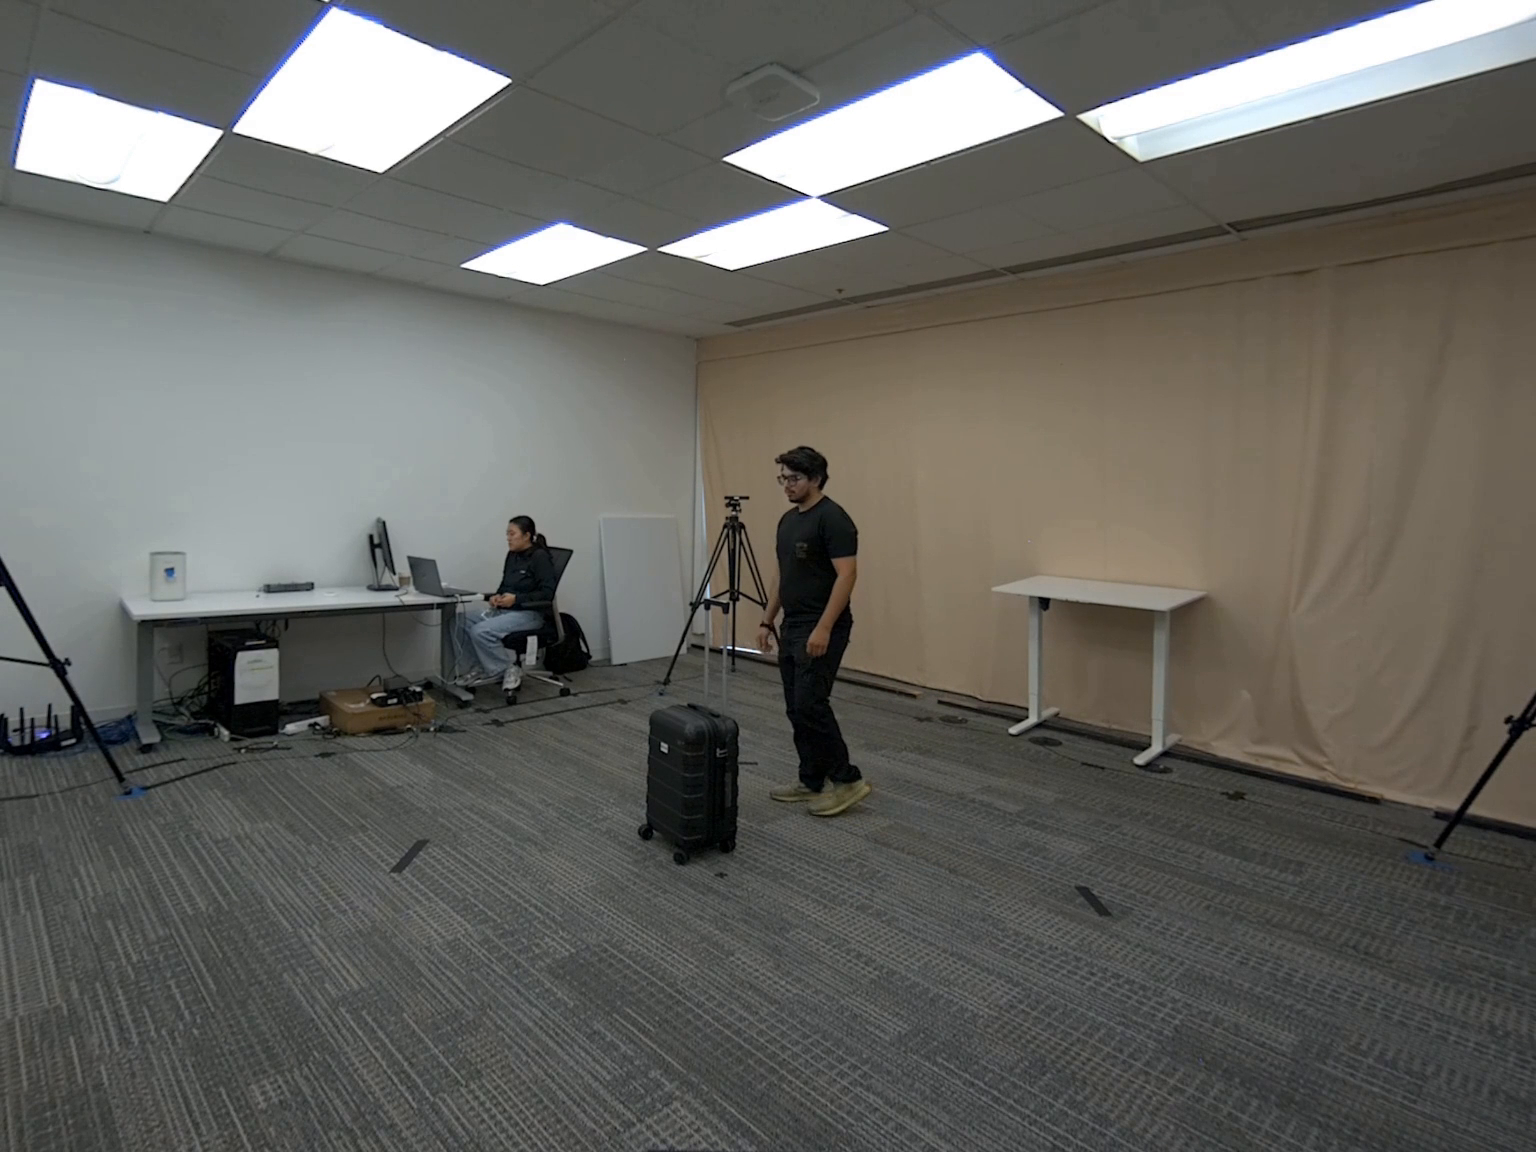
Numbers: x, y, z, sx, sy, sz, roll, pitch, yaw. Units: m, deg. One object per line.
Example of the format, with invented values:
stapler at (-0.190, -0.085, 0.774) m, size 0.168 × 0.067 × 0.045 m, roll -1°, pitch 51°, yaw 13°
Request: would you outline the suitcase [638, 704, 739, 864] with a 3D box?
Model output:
suitcase at (-0.311, 0.599, 3.341) m, size 0.251 × 0.977 × 0.393 m, roll 0°, pitch 3°, yaw -34°
